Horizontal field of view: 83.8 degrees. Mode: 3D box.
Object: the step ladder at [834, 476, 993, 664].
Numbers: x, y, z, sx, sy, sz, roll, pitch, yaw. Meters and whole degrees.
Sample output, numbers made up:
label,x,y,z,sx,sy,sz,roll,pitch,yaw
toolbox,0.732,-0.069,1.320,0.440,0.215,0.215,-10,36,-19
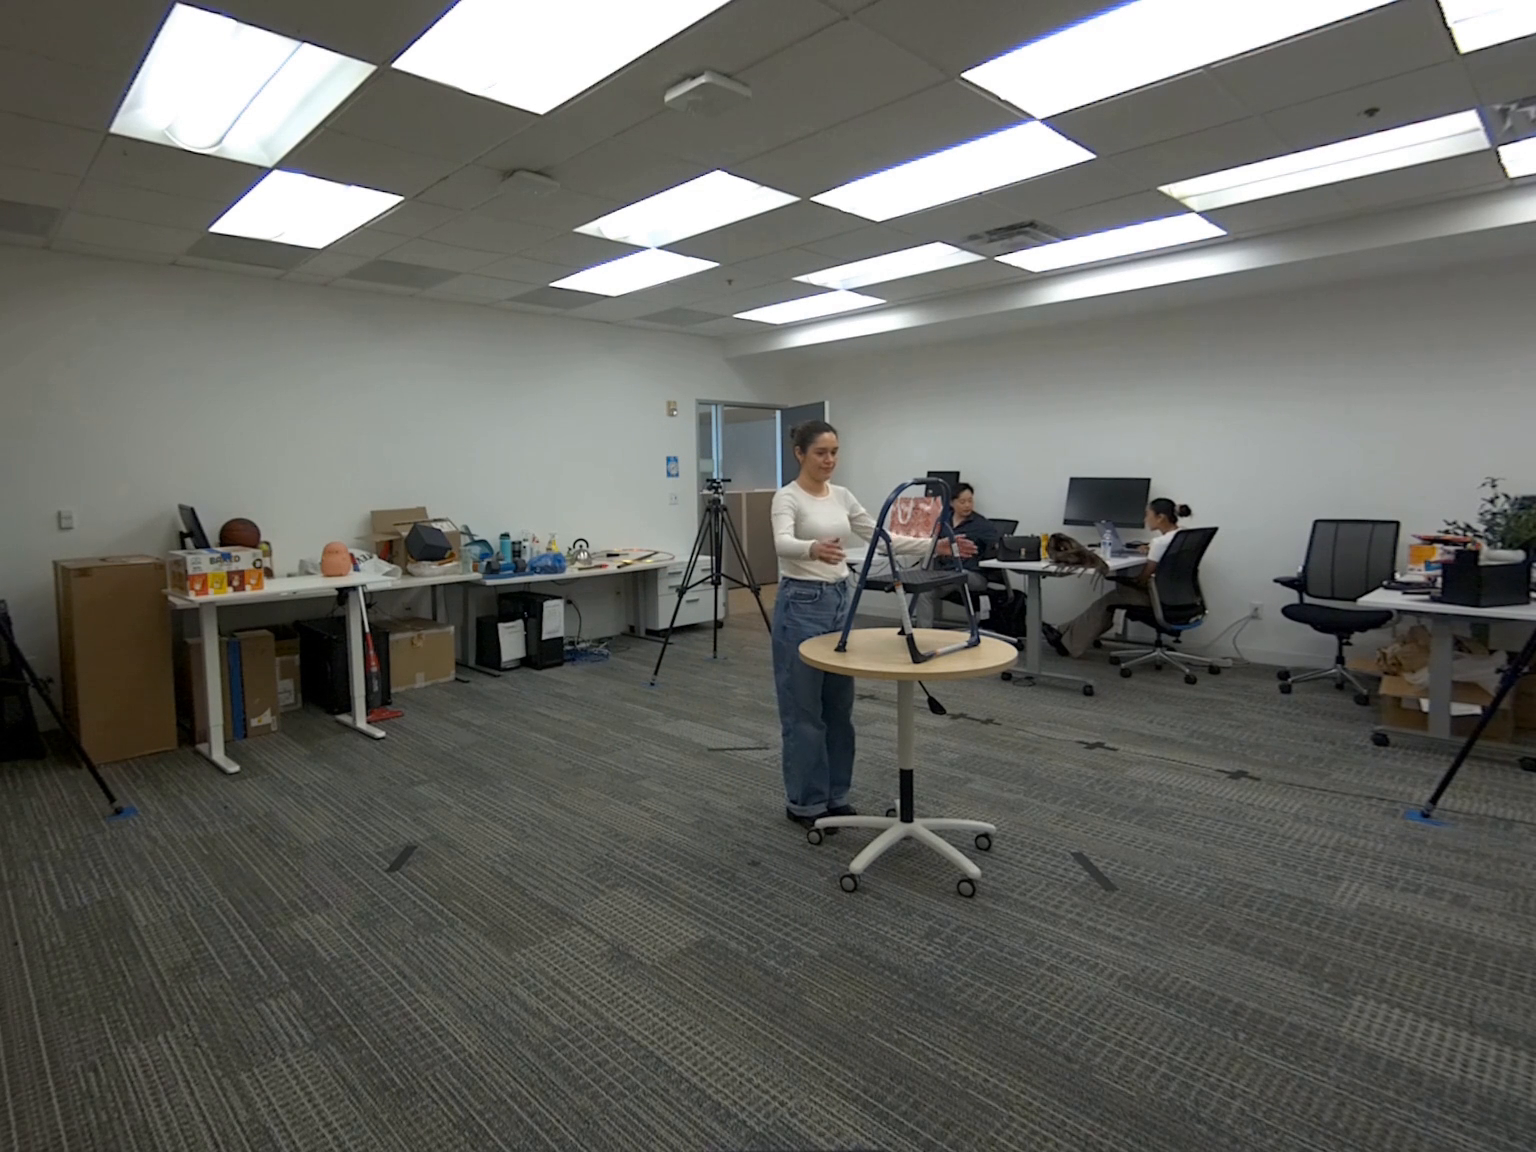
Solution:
label,x,y,z,sx,sy,sz,roll,pitch,yaw
step ladder,0.498,-0.044,3.049,0.360,0.604,0.419,2,6,43
